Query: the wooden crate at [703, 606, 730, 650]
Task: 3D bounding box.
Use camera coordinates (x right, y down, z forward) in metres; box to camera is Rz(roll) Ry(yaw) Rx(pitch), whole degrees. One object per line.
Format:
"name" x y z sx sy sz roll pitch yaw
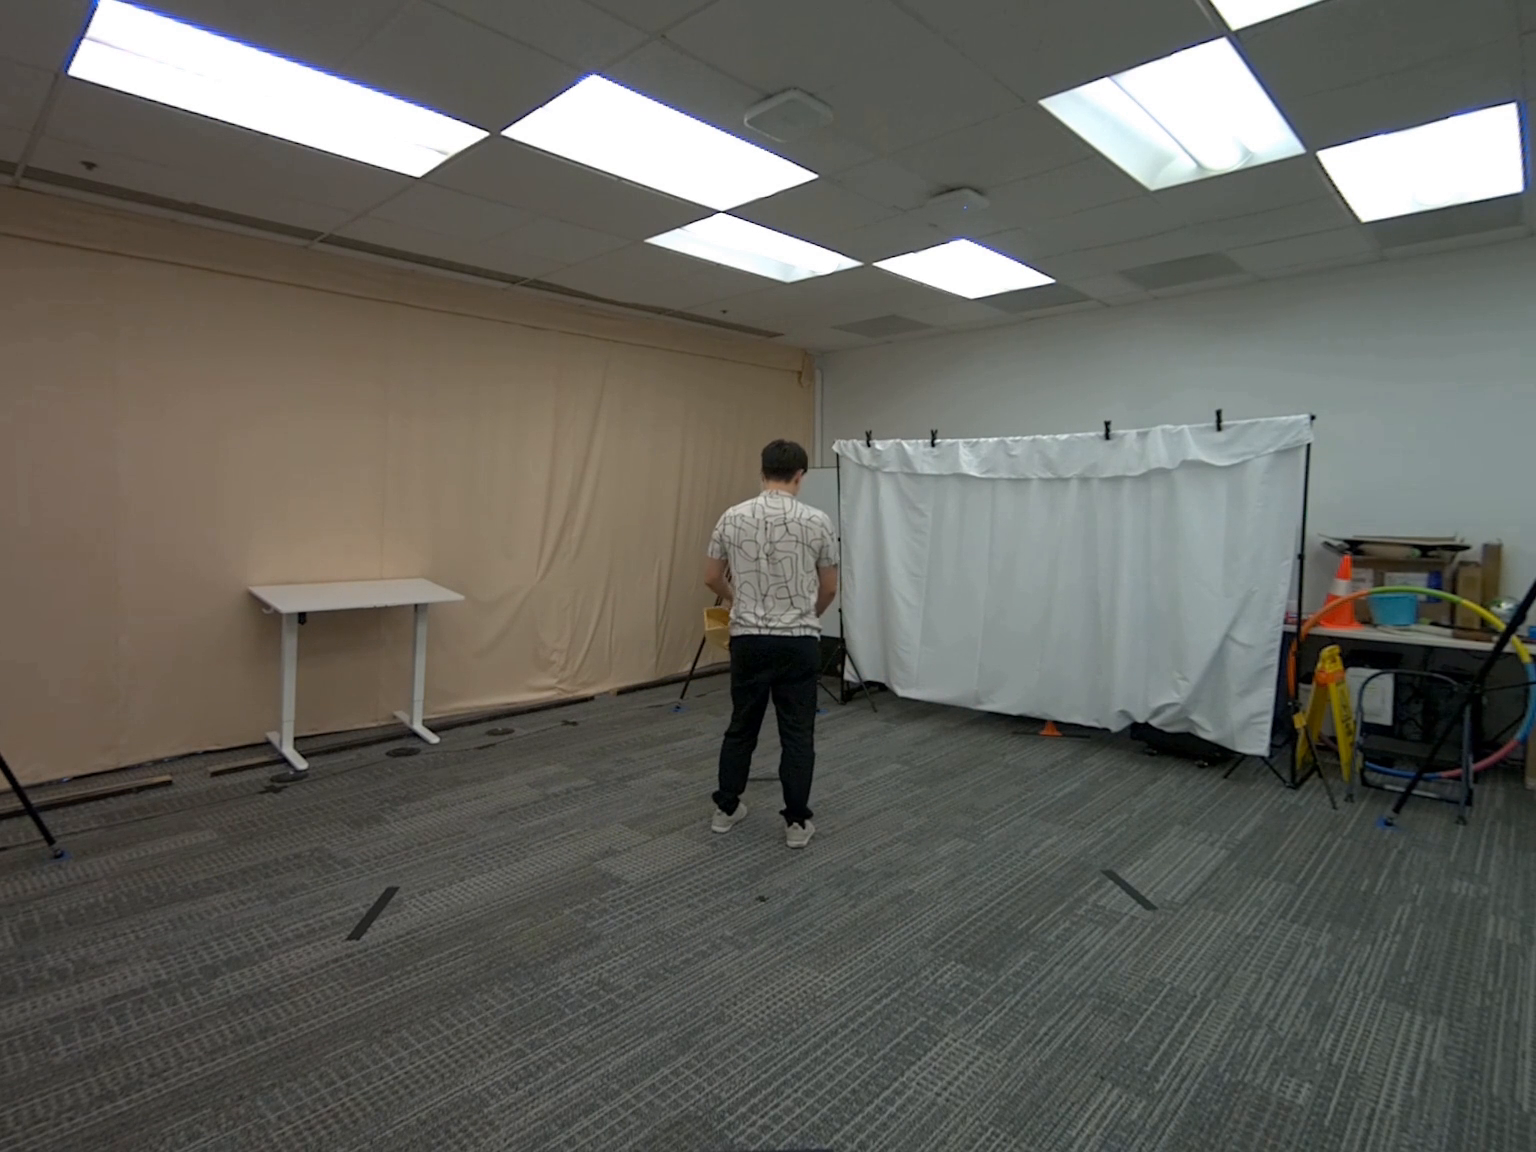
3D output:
"wooden crate" -0.119 0.182 3.882 0.298 0.273 0.329 25 12 -12
